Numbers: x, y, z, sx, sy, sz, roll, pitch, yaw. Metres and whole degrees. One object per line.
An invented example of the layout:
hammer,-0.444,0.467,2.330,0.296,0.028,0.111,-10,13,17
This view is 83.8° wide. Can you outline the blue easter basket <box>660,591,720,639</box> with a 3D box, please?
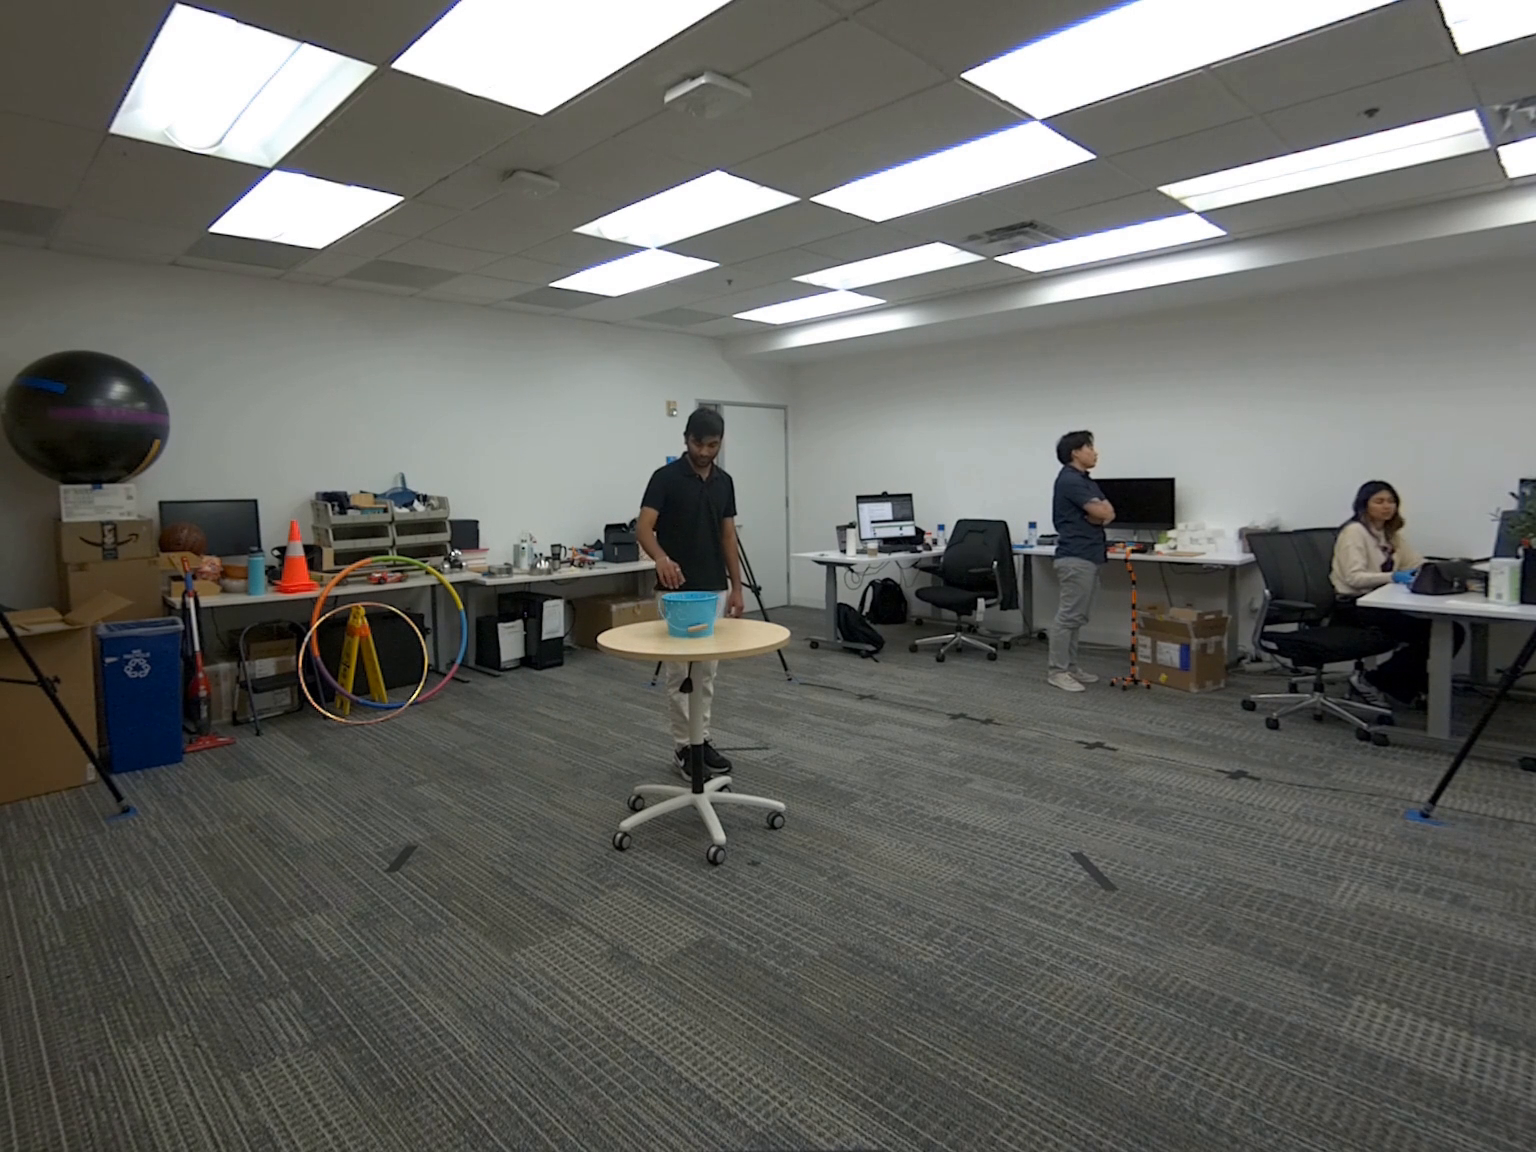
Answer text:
blue easter basket,-0.315,0.160,3.419,0.243,0.155,0.245,-4,5,-1
